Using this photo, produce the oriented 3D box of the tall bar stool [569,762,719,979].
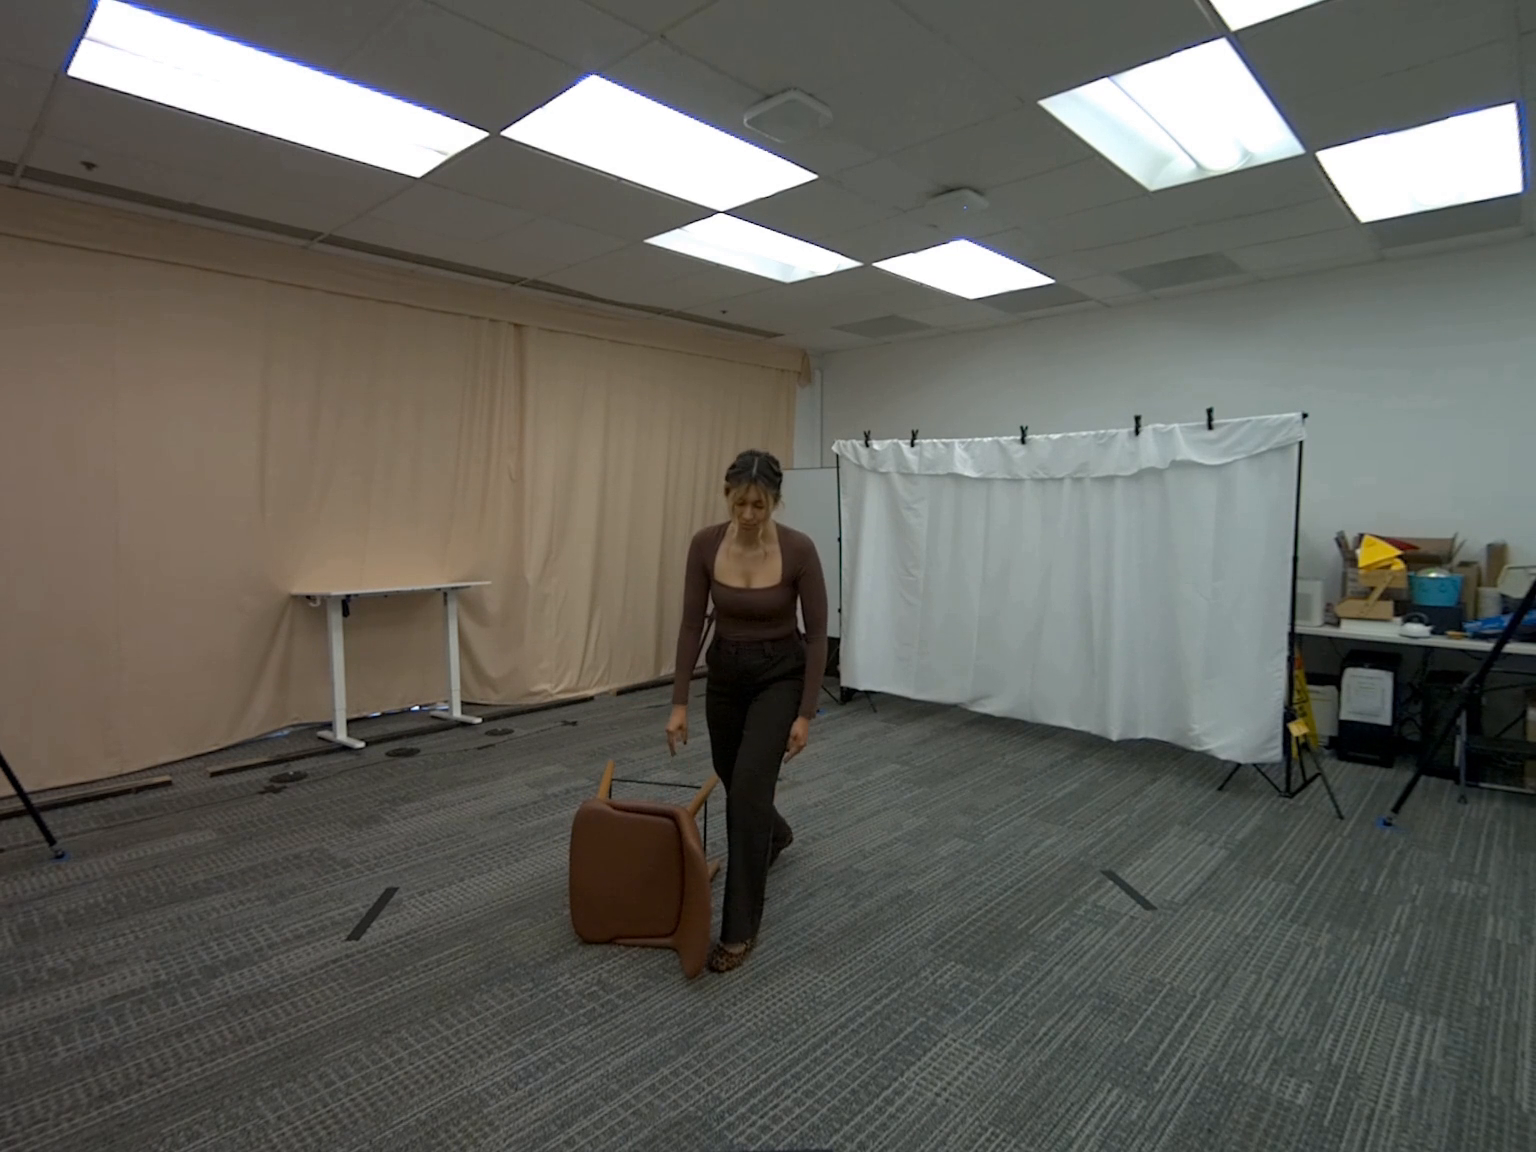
[{"bbox_3d":[-0.406,0.949,2.827,0.468,0.456,0.890,2,2,-1],"label":"tall bar stool"}]
